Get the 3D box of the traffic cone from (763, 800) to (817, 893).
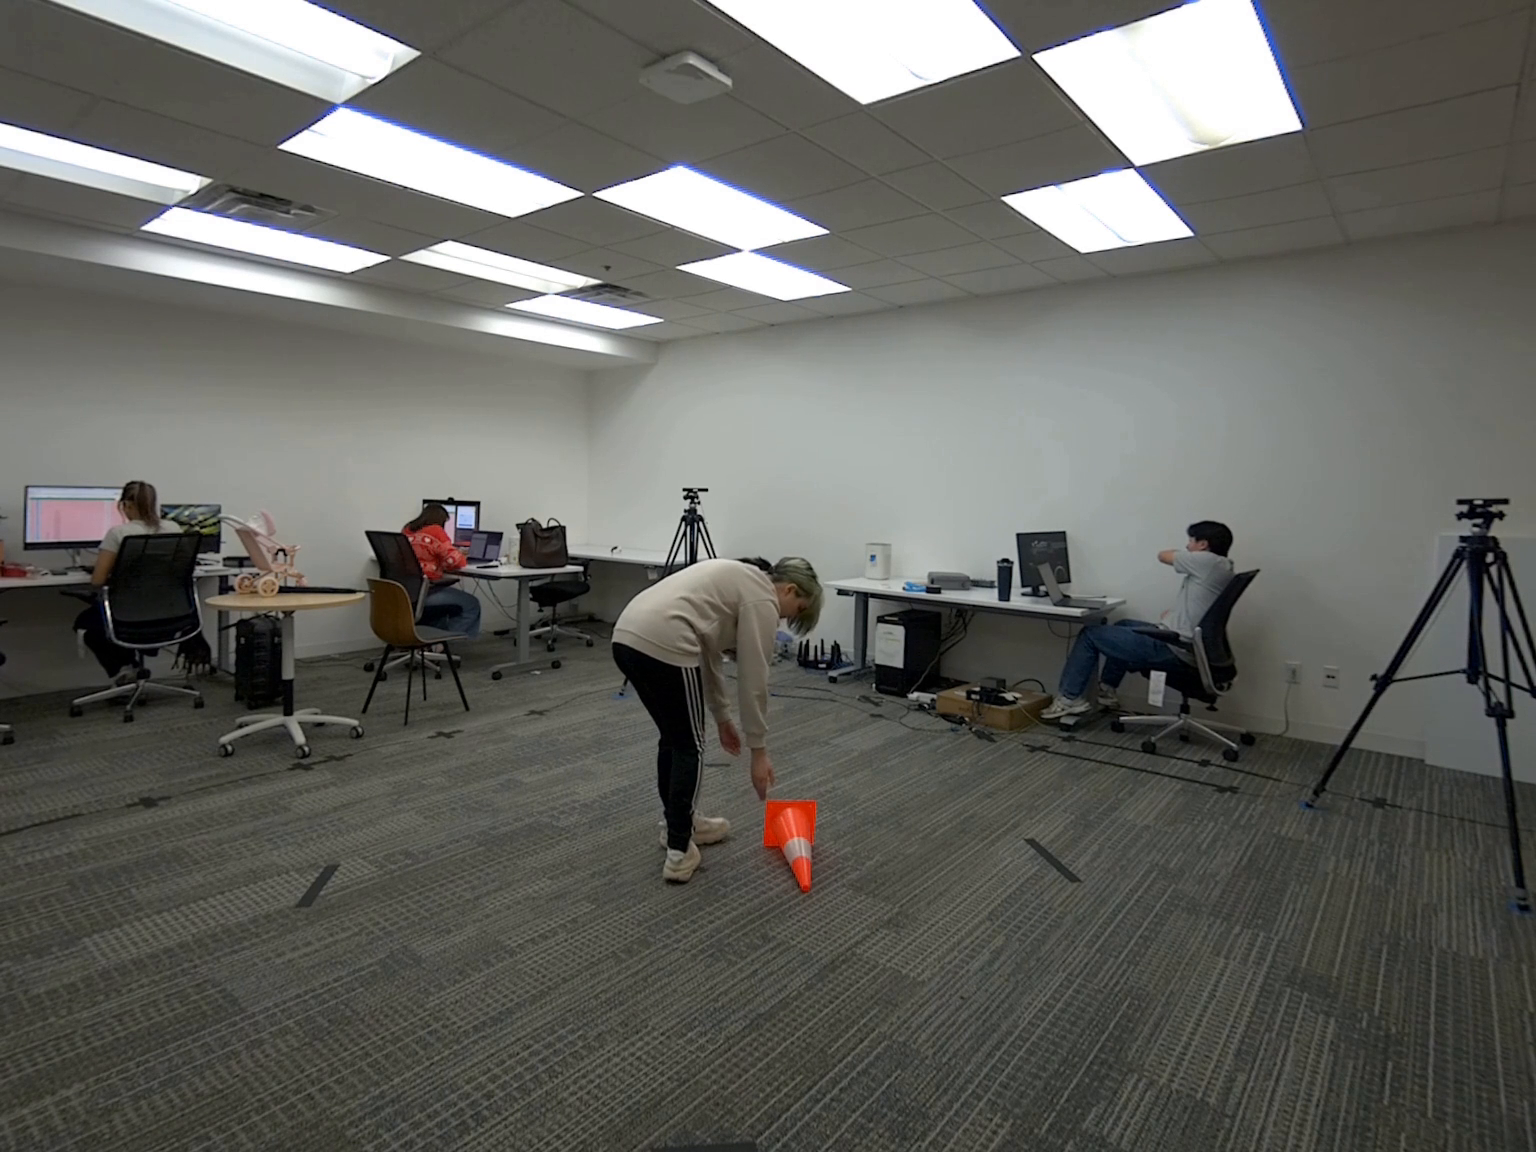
[{"bbox_3d":[0.109,1.024,3.130,0.203,0.200,0.392,-1,17,-8],"label":"traffic cone"}]
